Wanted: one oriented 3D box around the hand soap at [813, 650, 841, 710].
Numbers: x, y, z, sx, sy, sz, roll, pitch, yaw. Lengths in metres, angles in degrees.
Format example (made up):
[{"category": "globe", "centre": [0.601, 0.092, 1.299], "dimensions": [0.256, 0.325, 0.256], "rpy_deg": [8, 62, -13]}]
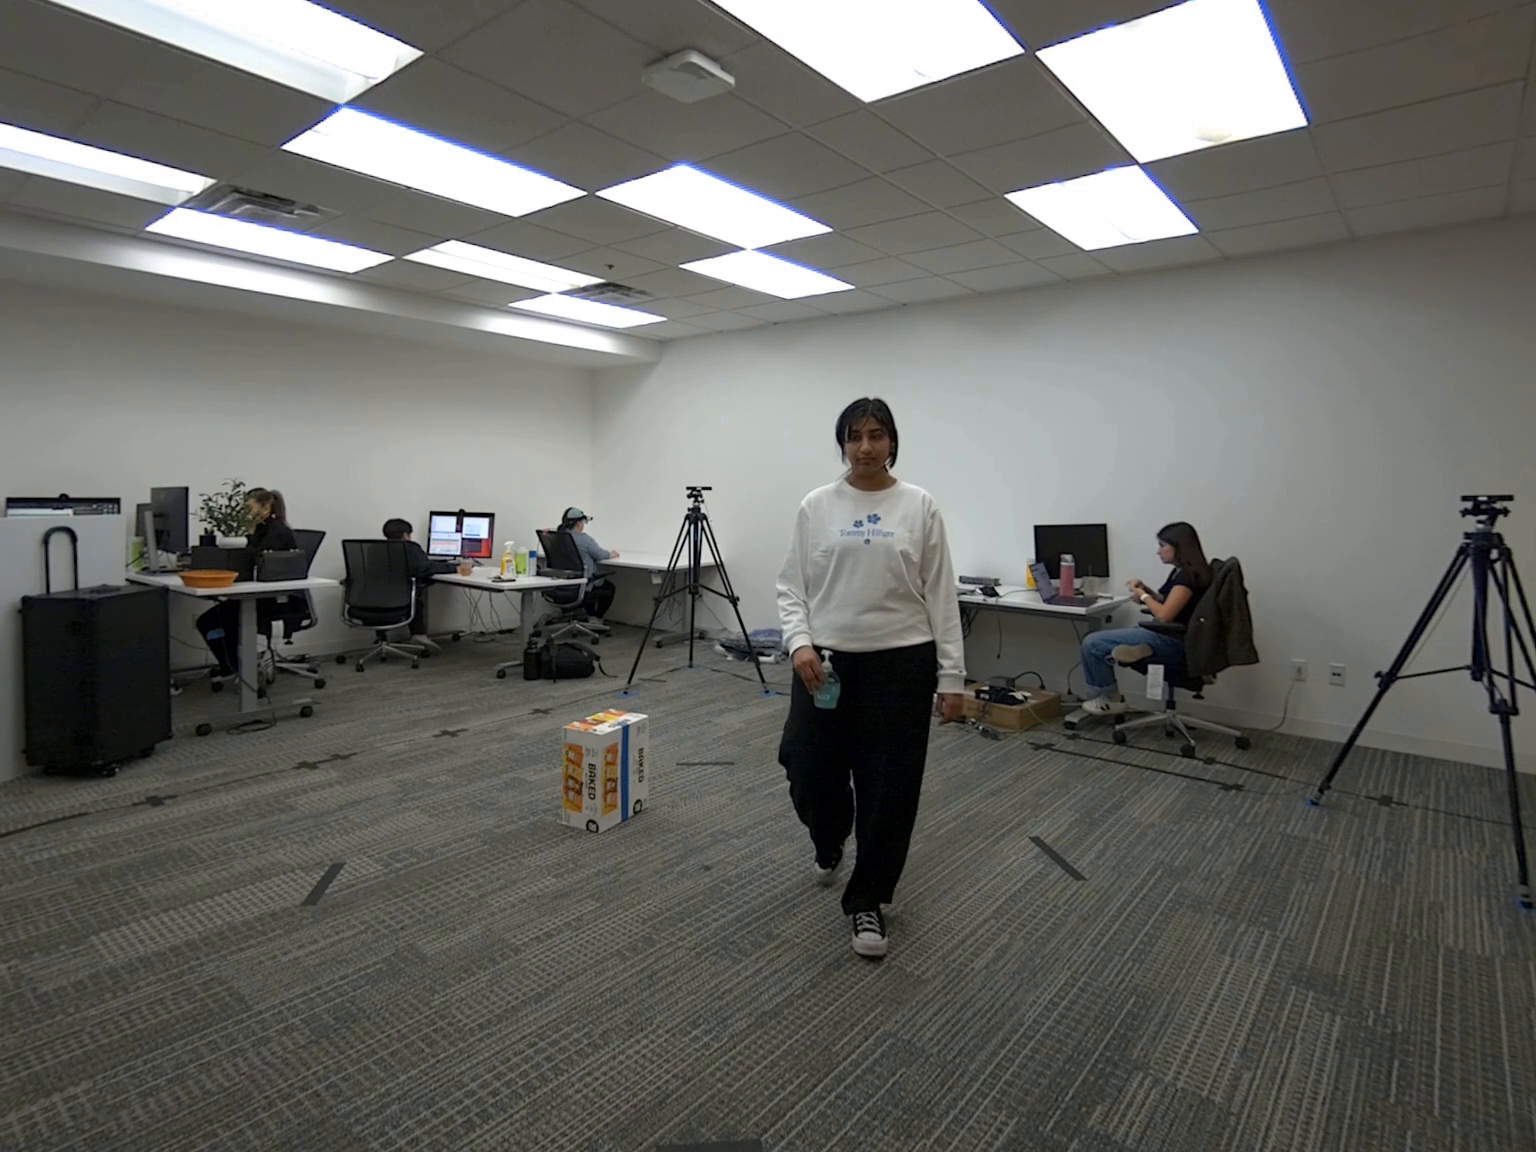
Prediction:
[{"category": "hand soap", "centre": [0.163, 0.304, 2.539], "dimensions": [0.086, 0.168, 0.042], "rpy_deg": [2, 1, 16]}]
